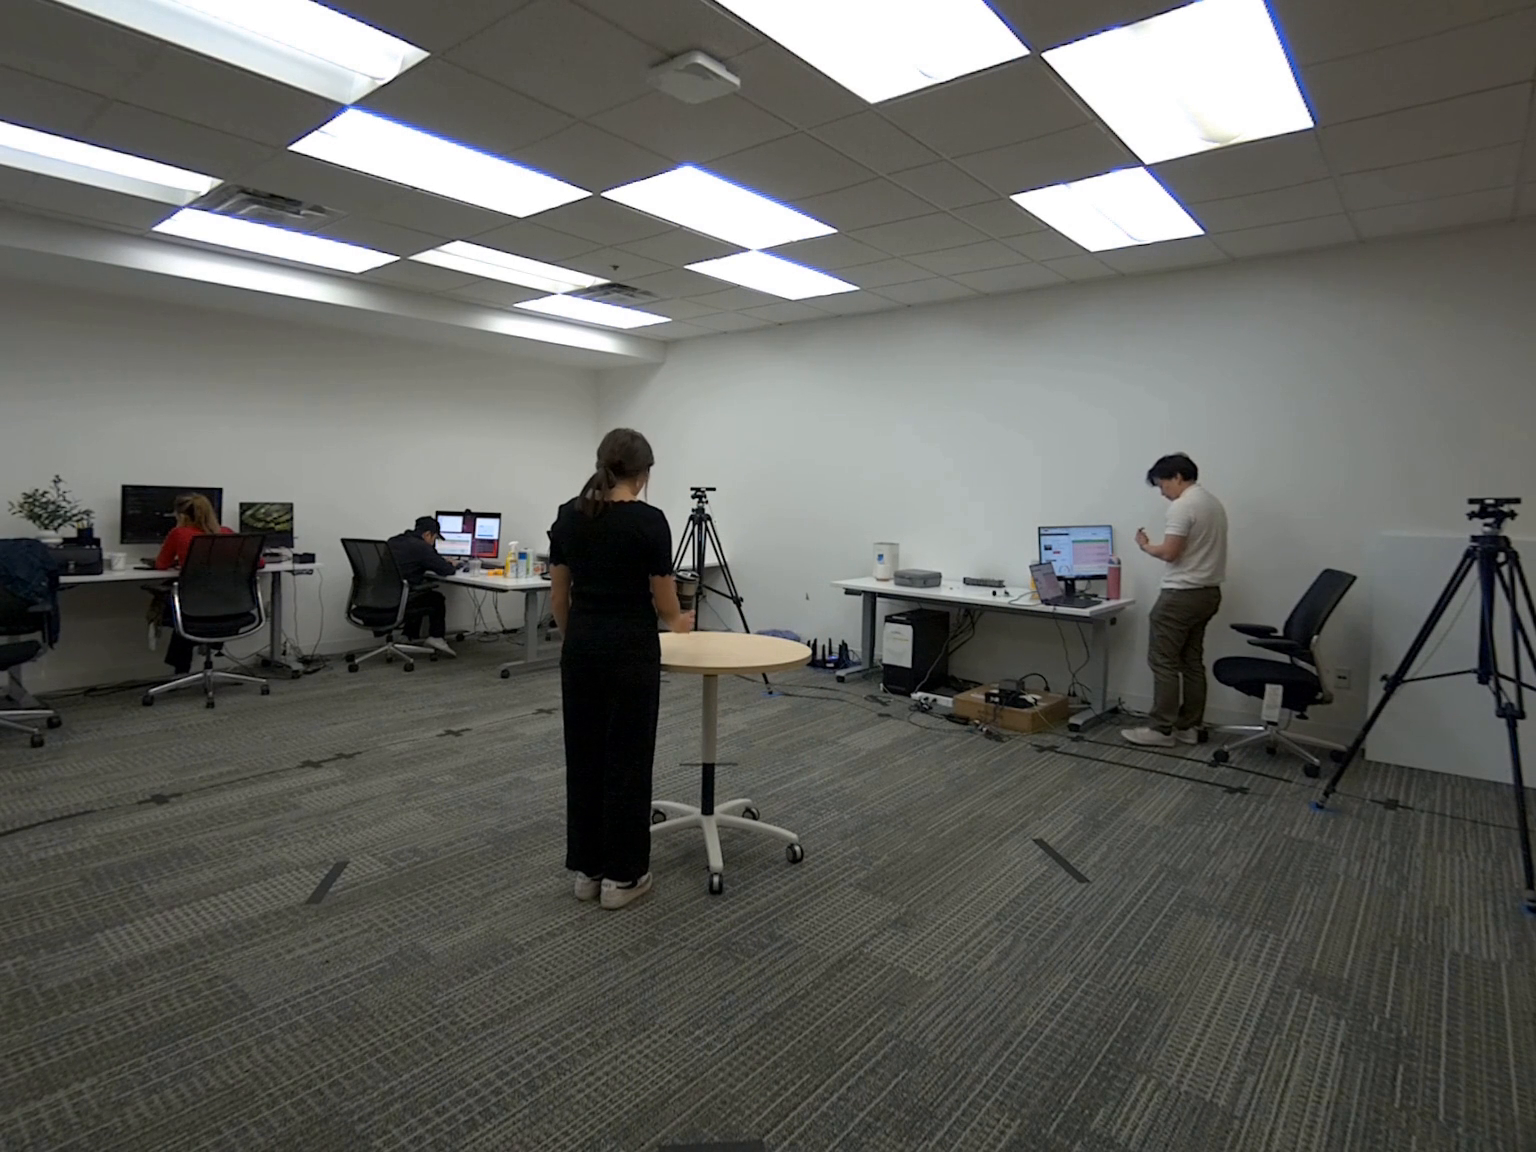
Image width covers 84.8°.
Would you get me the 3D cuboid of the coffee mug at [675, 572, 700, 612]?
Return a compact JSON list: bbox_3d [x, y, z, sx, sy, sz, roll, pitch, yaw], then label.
[{"bbox_3d":[-0.342,0.087,3.120,0.119,0.201,0.091,7,16,-19],"label":"coffee mug"}]
